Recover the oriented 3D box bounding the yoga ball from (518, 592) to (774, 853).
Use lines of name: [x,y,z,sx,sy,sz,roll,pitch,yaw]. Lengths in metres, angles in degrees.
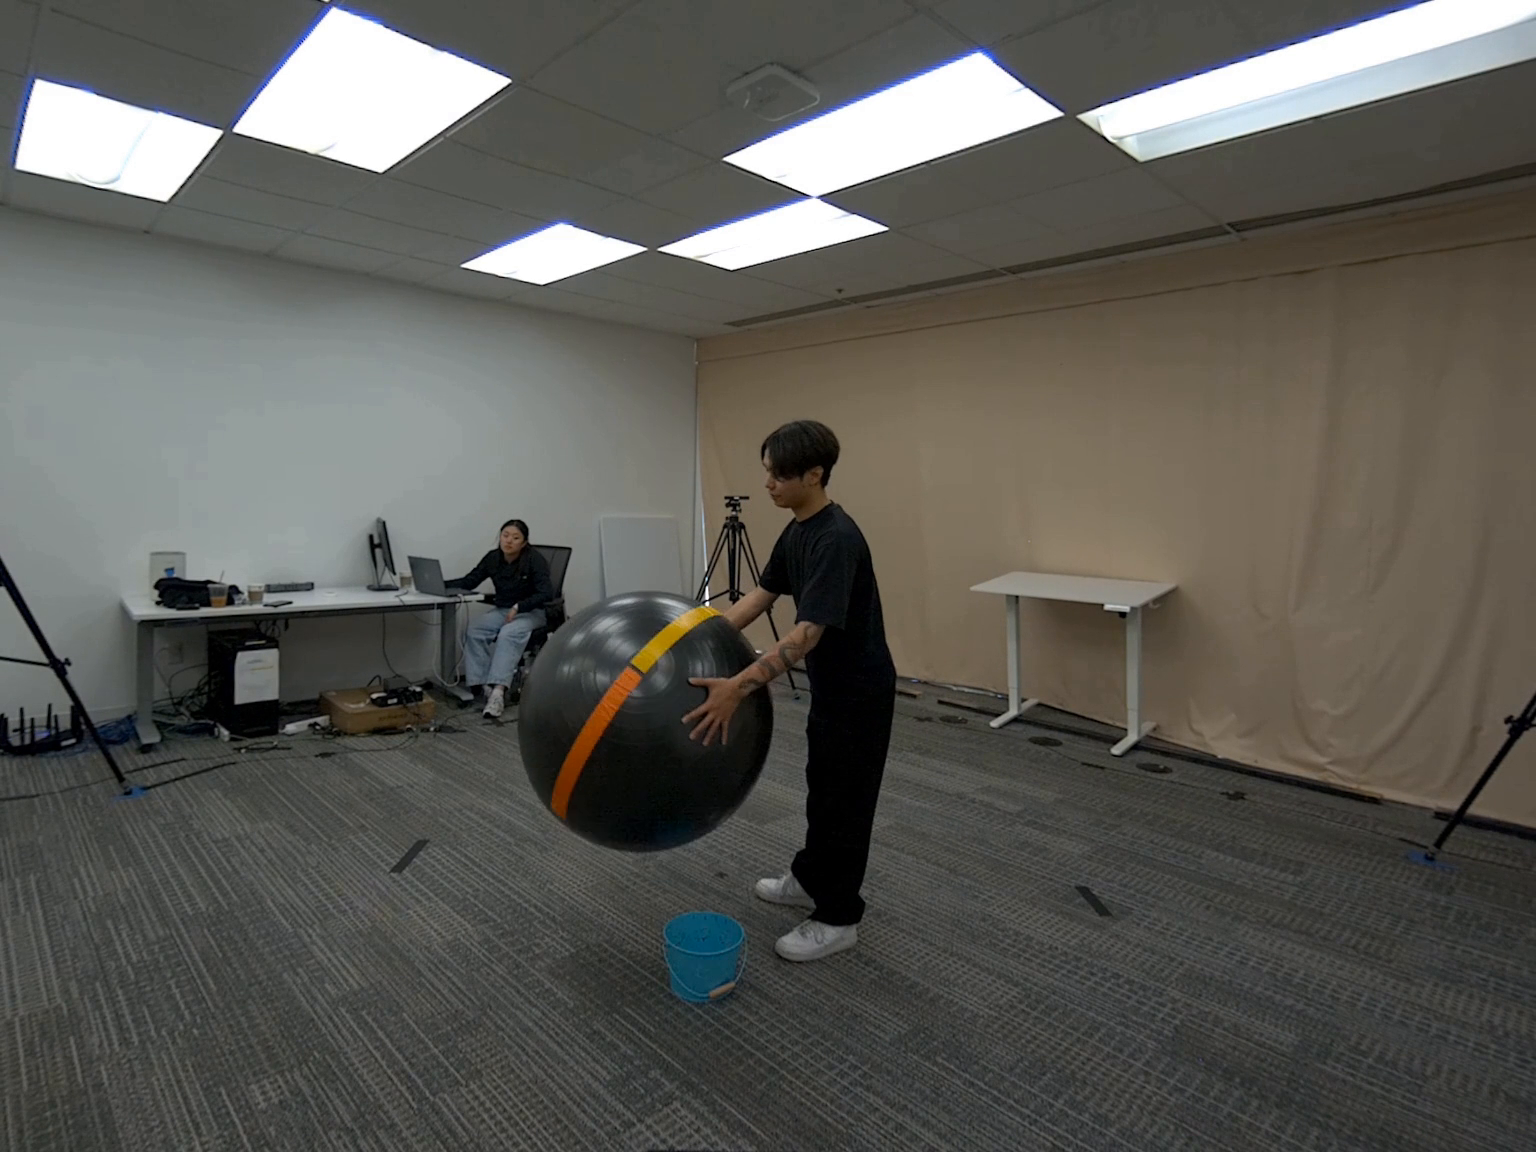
yoga ball: [-0.362,0.443,2.527,0.757,0.756,0.761,1,4,-1]
